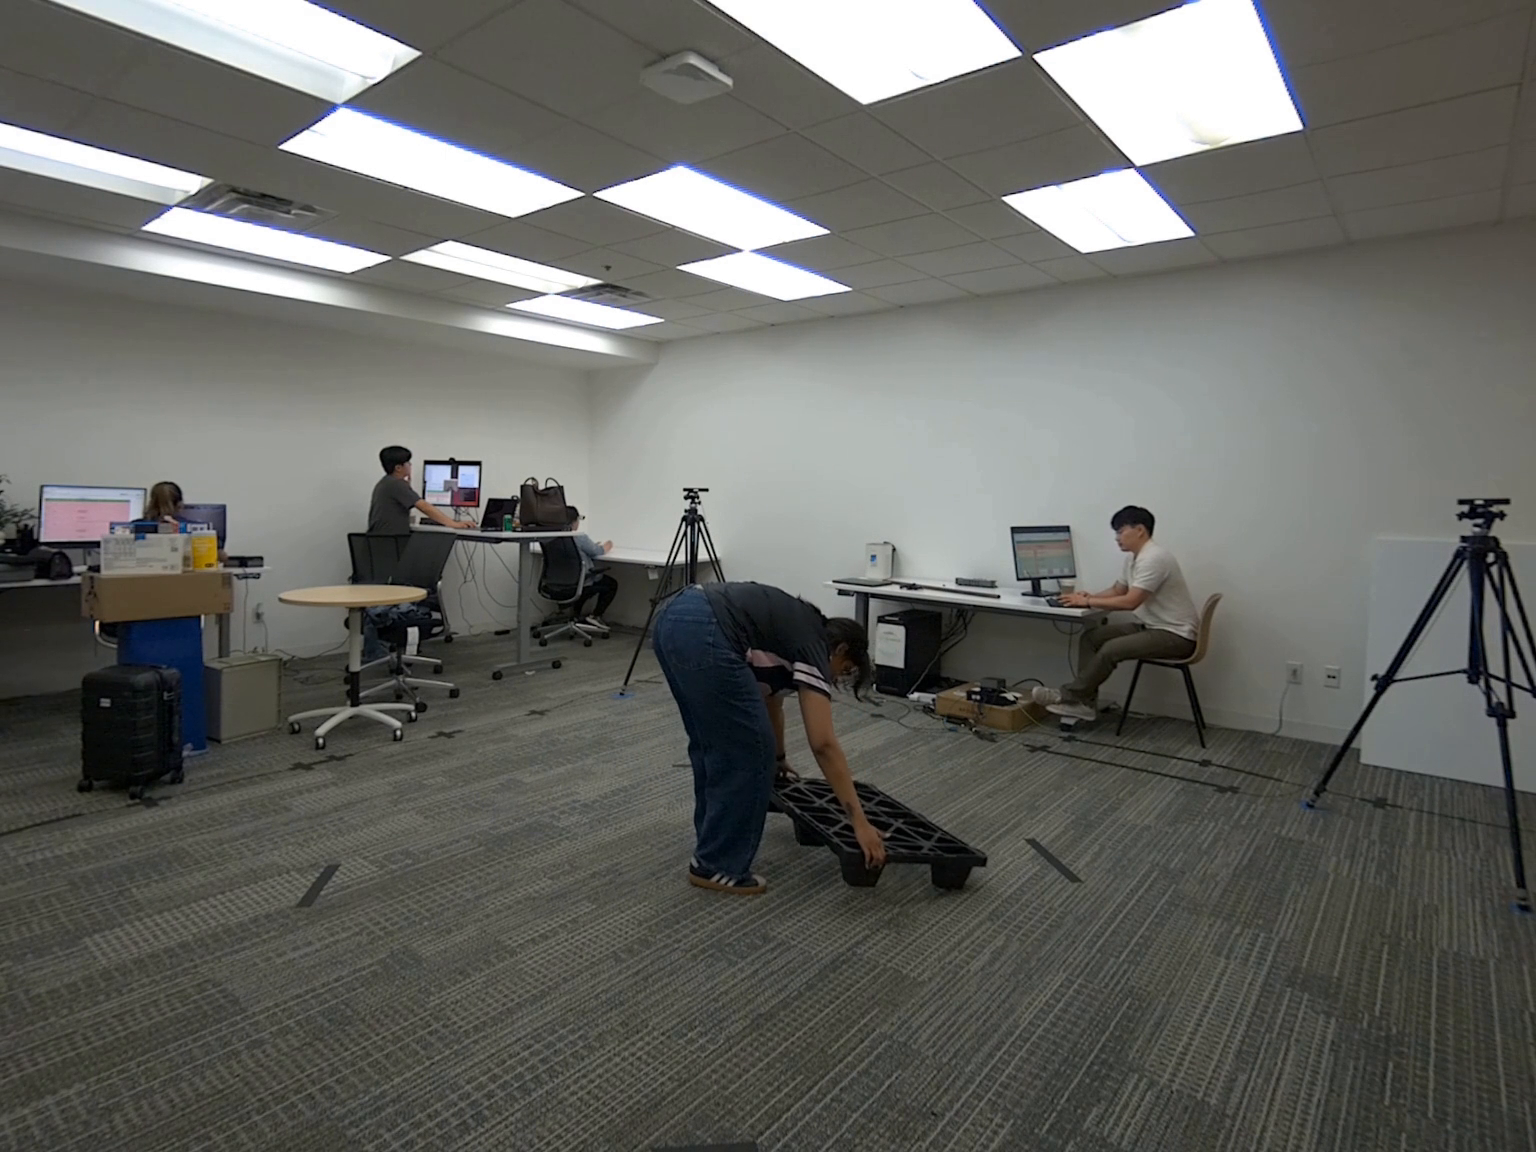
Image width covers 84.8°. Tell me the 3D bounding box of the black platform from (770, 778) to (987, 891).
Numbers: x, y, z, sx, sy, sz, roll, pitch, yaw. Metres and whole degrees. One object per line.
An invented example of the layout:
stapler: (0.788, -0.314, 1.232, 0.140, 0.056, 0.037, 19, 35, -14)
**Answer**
black platform: (0.332, 0.964, 3.243, 0.589, 0.143, 0.827, 10, 1, -25)
